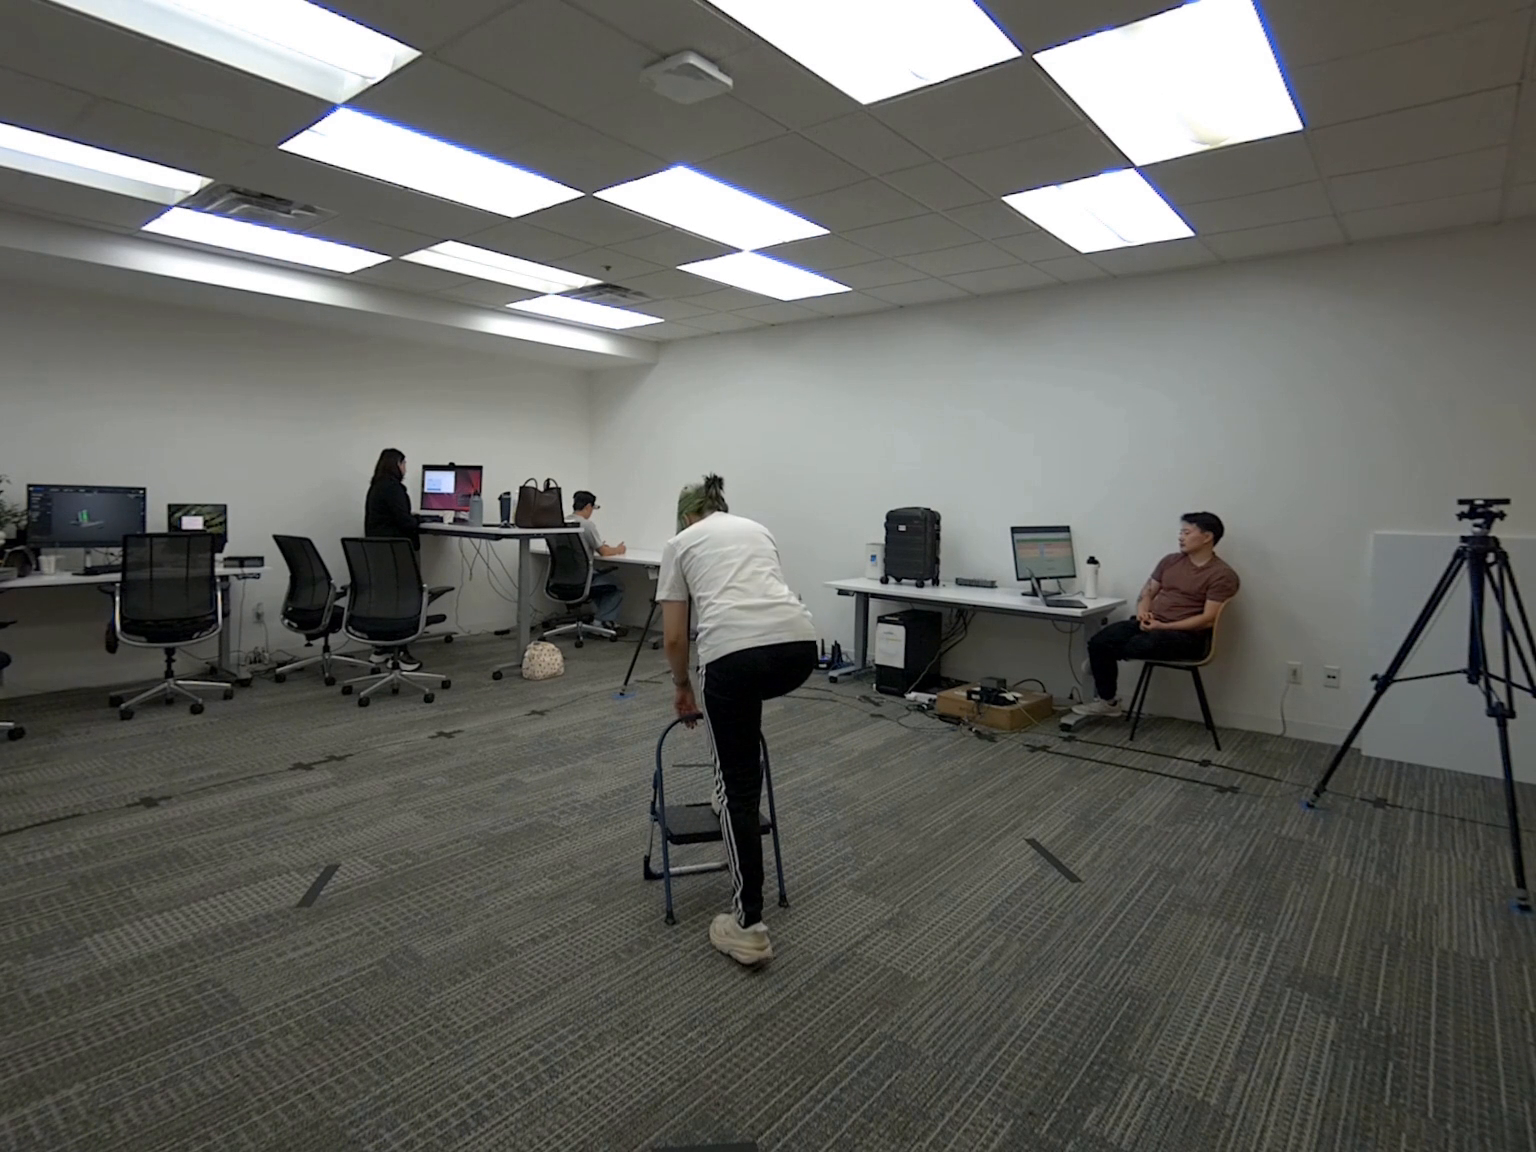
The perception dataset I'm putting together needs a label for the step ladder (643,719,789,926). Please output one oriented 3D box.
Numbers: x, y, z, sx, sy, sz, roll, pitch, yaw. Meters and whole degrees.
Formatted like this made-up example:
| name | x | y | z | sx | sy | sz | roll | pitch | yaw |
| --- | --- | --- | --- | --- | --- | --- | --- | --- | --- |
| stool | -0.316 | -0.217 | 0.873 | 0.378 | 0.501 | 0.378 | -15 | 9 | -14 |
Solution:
| name | x | y | z | sx | sy | sz | roll | pitch | yaw |
| --- | --- | --- | --- | --- | --- | --- | --- | --- | --- |
| step ladder | -0.194 | 0.790 | 2.921 | 0.421 | 0.604 | 0.358 | 0 | 4 | -22 |
